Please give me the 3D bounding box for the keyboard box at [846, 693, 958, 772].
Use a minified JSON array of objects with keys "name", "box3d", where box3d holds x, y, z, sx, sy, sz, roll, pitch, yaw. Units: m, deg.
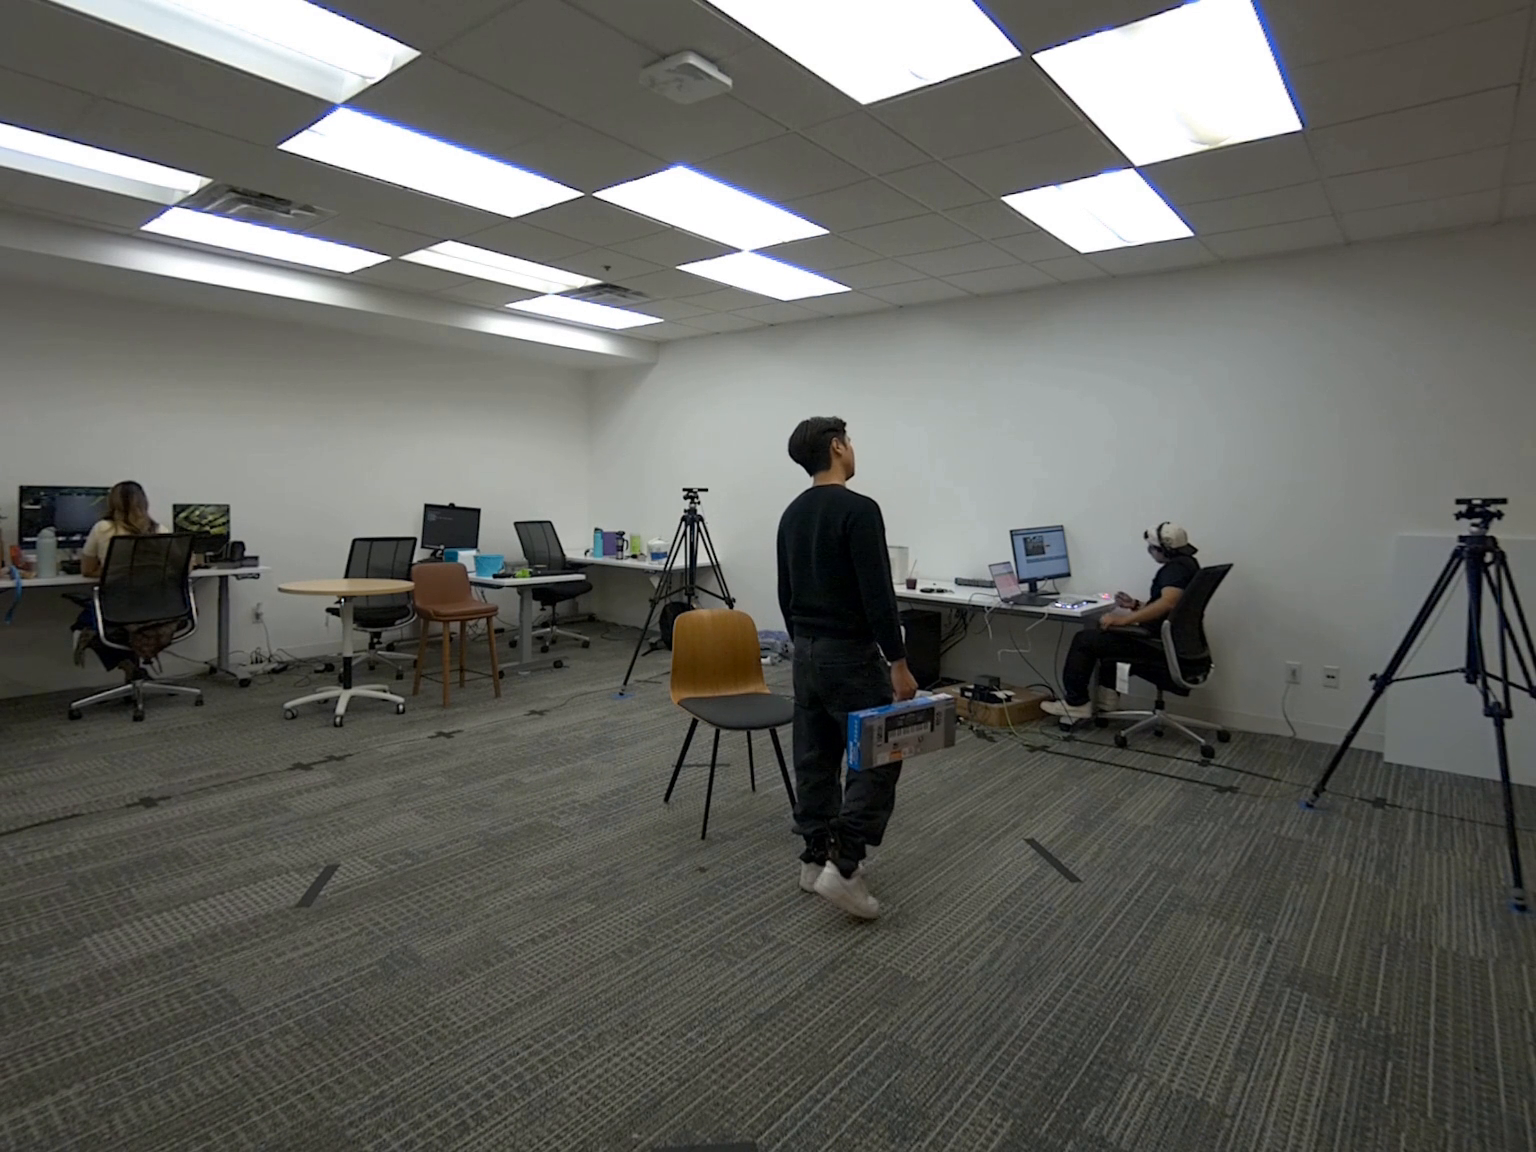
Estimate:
[{"name":"keyboard box","box3d":[0.435,0.501,2.767,0.425,0.175,0.061,-4,5,-33]}]
